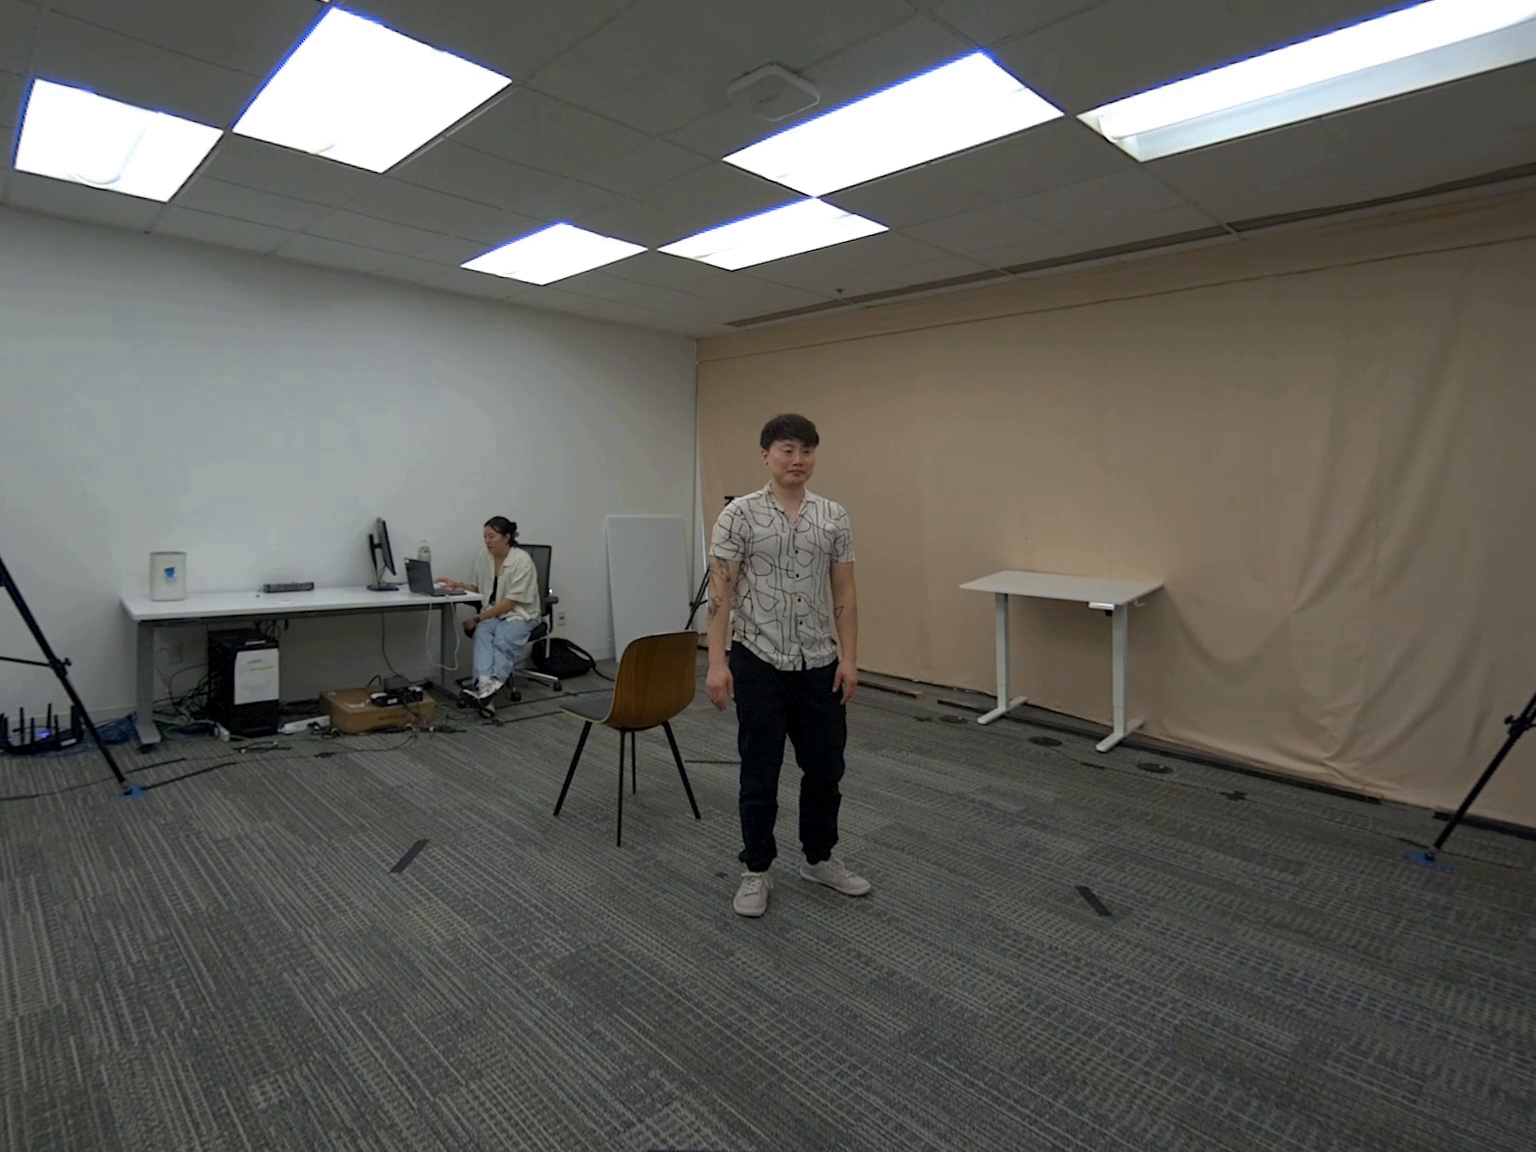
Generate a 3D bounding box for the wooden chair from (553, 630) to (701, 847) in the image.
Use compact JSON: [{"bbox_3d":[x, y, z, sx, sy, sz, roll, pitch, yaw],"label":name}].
[{"bbox_3d":[-0.611,0.619,3.617,0.537,0.873,0.467,10,9,42],"label":"wooden chair"}]
